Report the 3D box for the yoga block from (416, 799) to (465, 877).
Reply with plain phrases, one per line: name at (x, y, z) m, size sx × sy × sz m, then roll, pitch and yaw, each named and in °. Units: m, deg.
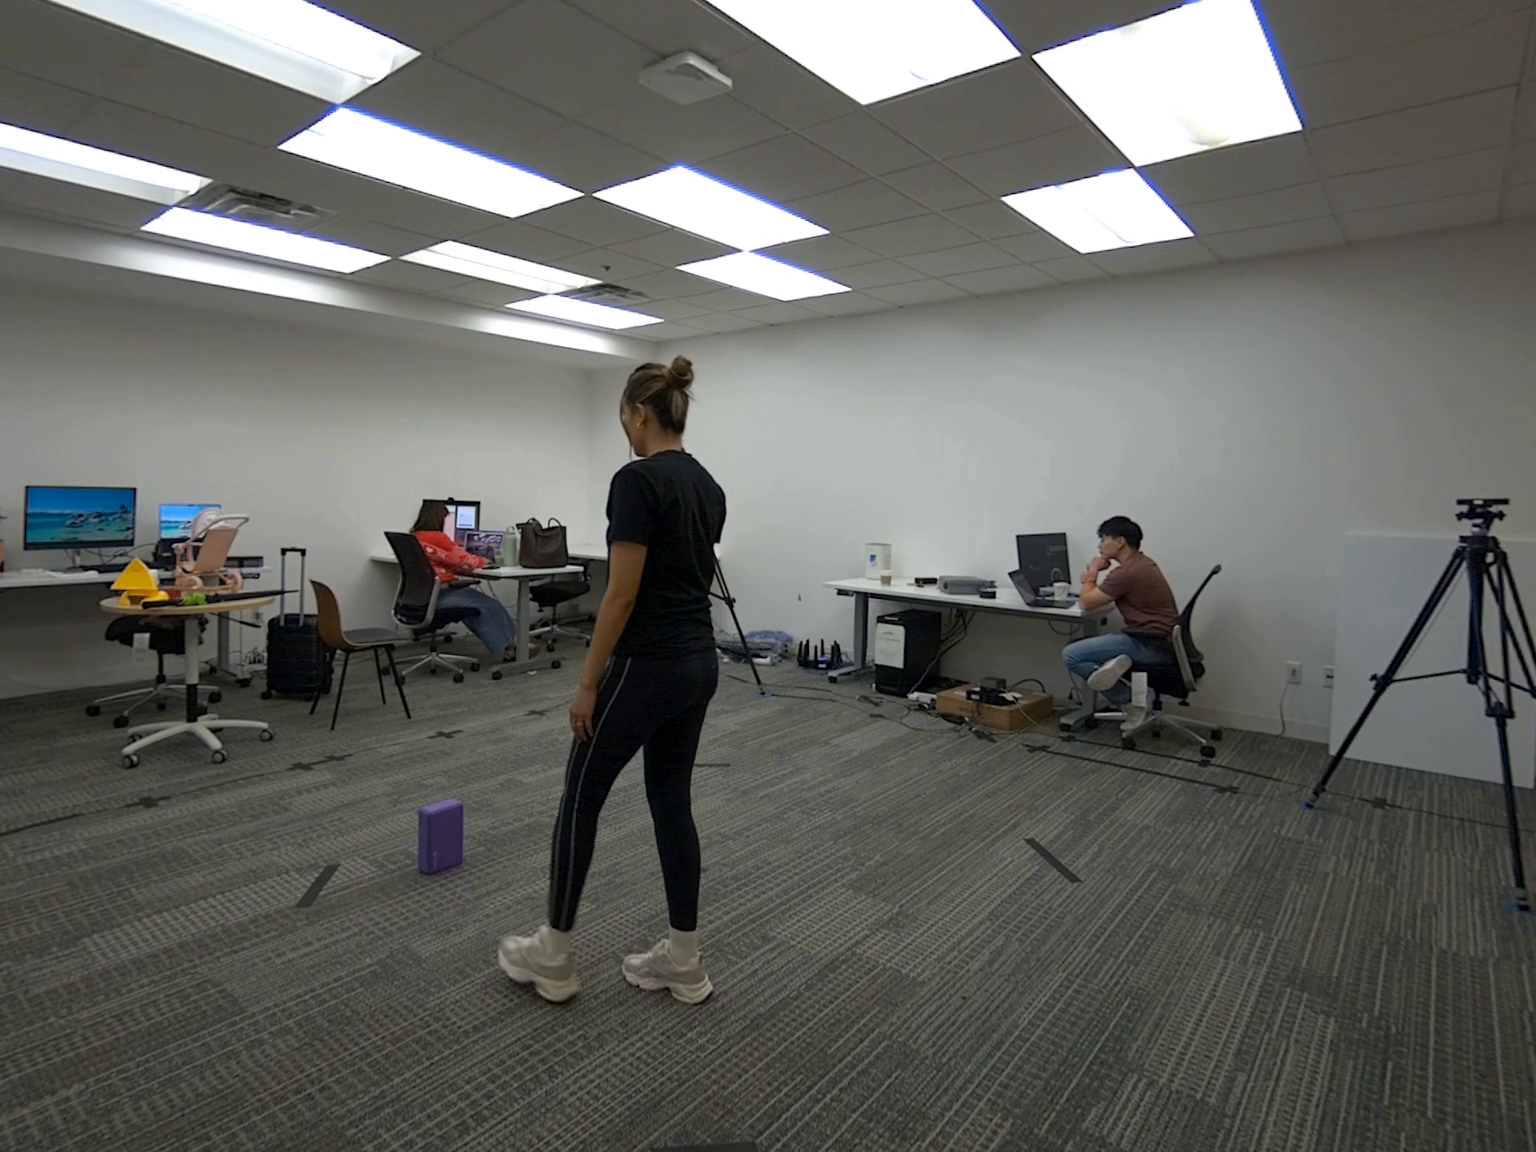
yoga block at (-1.202, 0.942, 3.084) m, size 0.079 × 0.229 × 0.144 m, roll 4°, pitch 3°, yaw 35°
